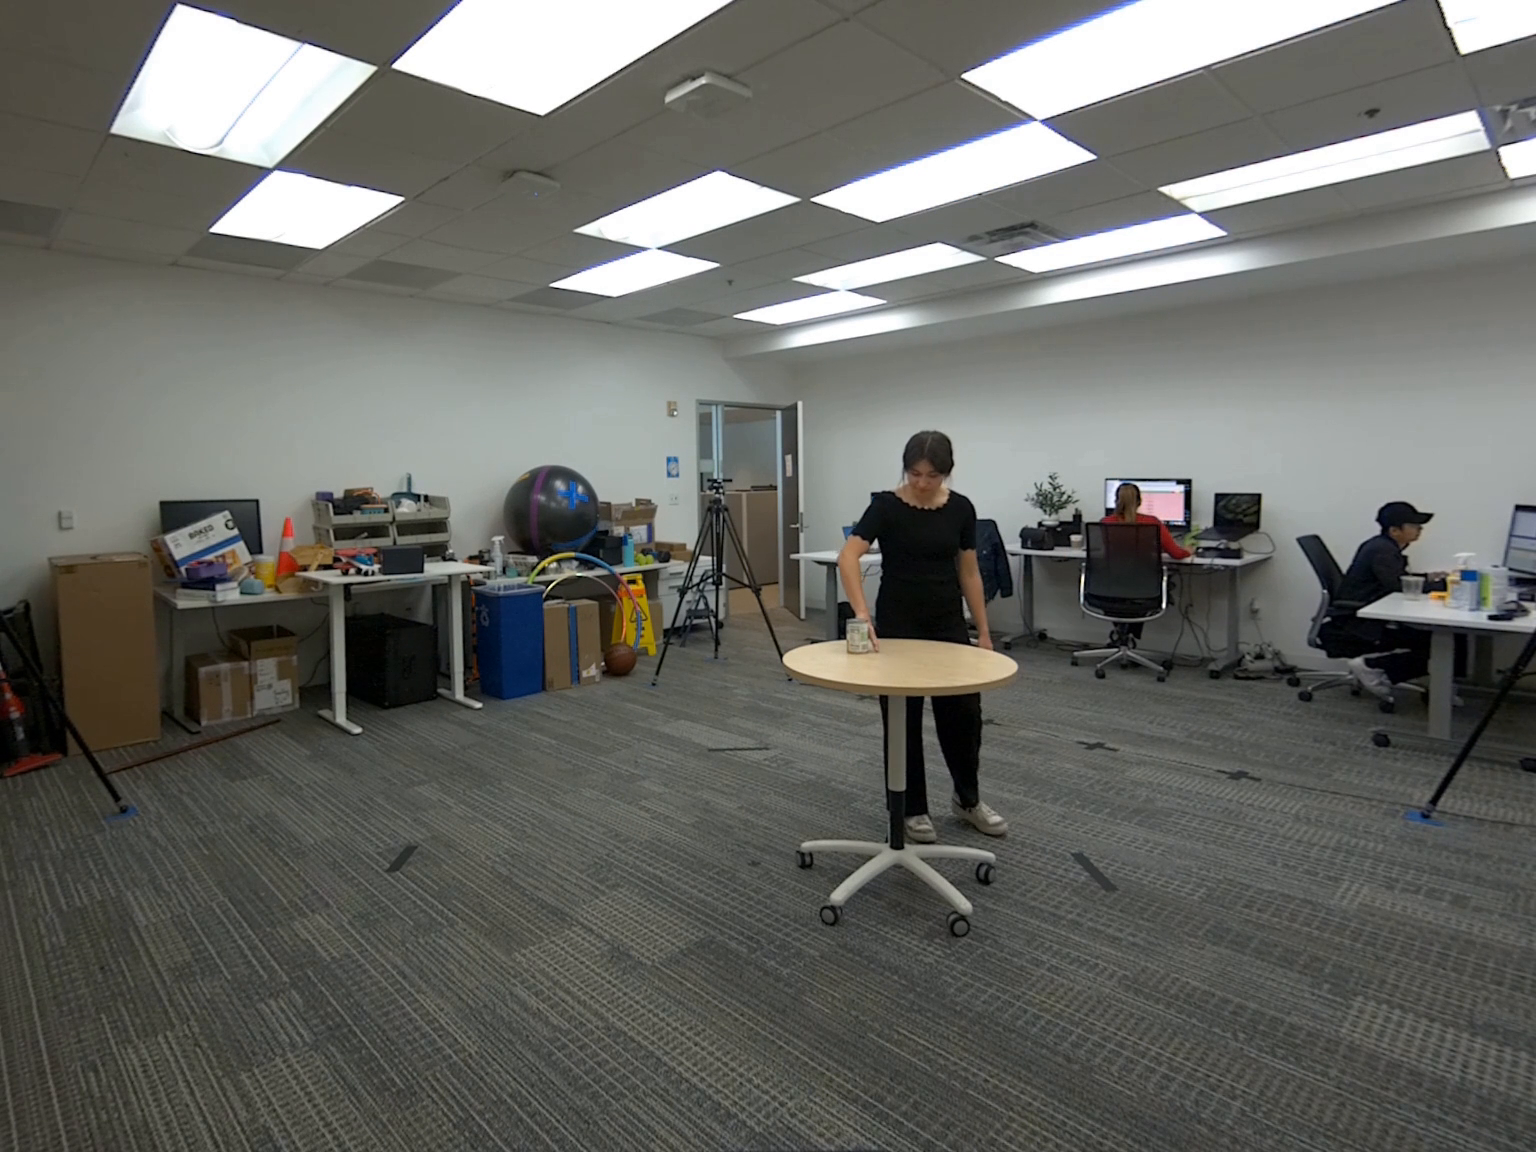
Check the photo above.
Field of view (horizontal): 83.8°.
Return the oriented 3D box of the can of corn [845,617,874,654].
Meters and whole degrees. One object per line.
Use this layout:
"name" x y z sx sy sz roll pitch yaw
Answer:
"can of corn" 0.311 0.214 2.985 0.074 0.110 0.074 1 5 -2
